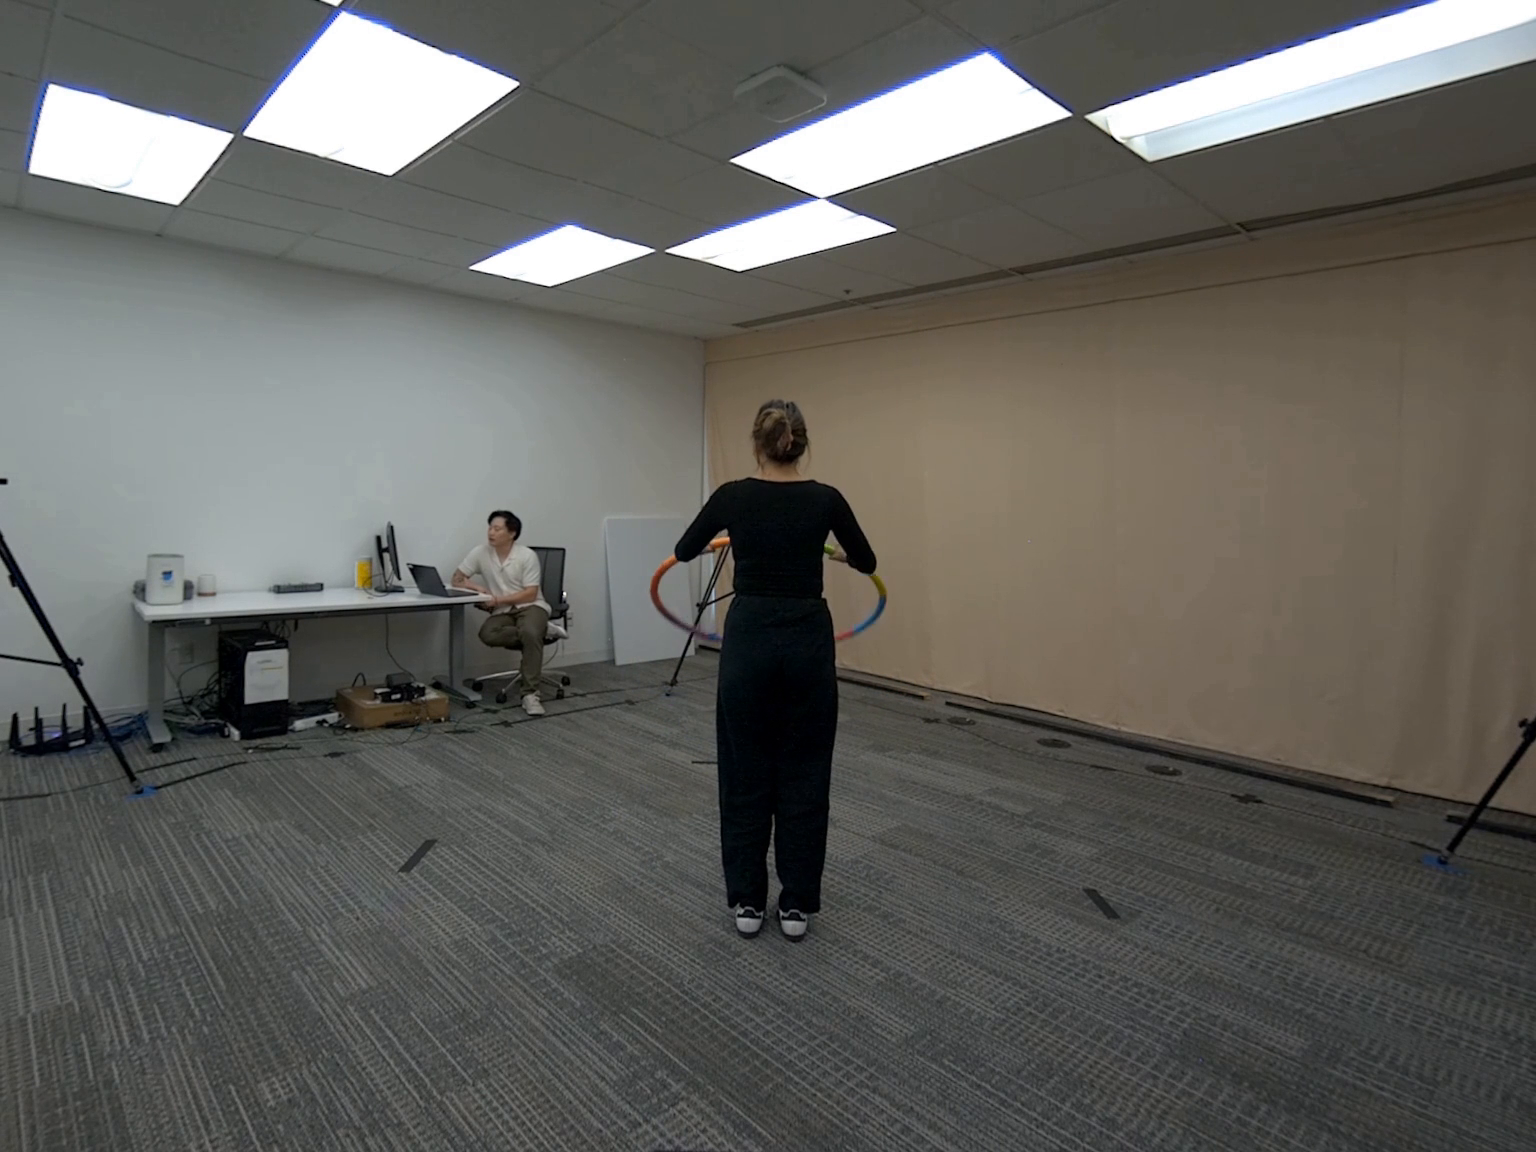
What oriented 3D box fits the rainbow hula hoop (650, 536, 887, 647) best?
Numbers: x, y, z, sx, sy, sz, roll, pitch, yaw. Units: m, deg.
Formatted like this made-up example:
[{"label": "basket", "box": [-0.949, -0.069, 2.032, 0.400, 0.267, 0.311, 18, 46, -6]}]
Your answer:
[{"label": "rainbow hula hoop", "box": [-0.006, 0.087, 3.480, 0.980, 0.036, 0.960, 4, -29, 1]}]
